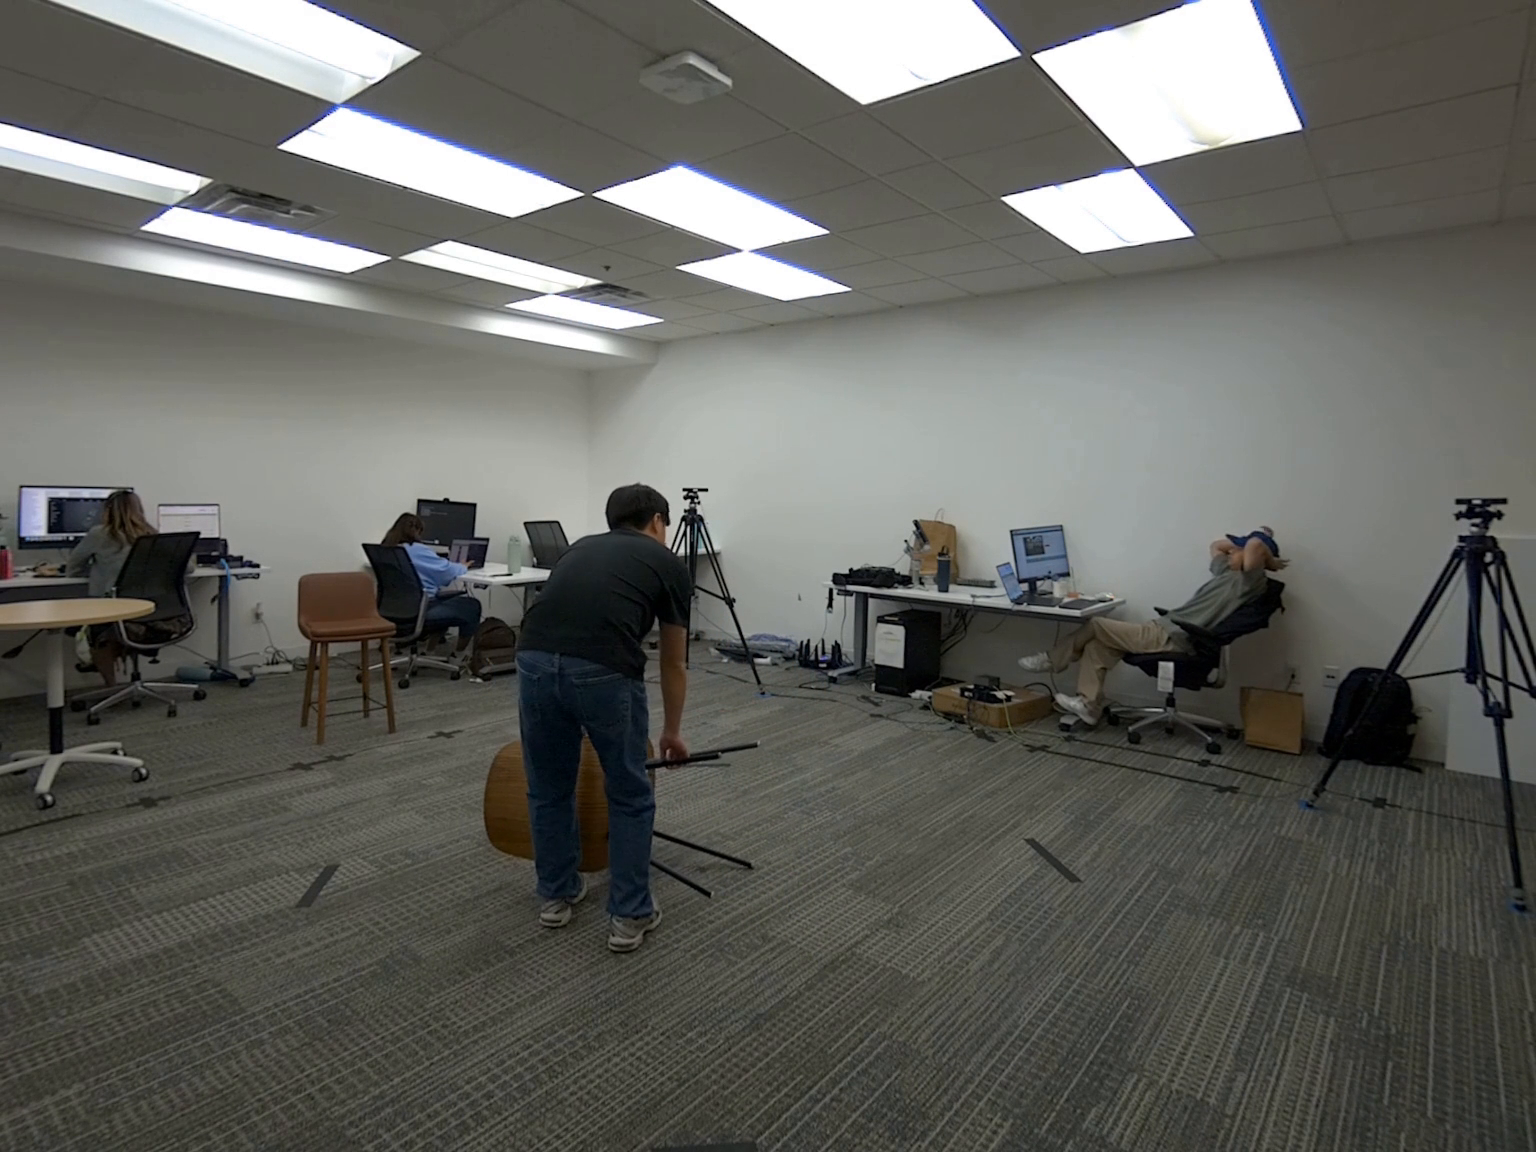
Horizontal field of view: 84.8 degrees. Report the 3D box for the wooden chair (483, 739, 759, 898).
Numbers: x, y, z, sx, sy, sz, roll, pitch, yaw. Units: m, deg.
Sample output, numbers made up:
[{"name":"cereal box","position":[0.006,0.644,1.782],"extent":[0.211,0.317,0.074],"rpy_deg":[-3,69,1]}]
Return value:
[{"name":"wooden chair","position":[-0.530,0.813,3.094],"extent":[0.892,0.481,0.511],"rpy_deg":[0,-6,15]}]
